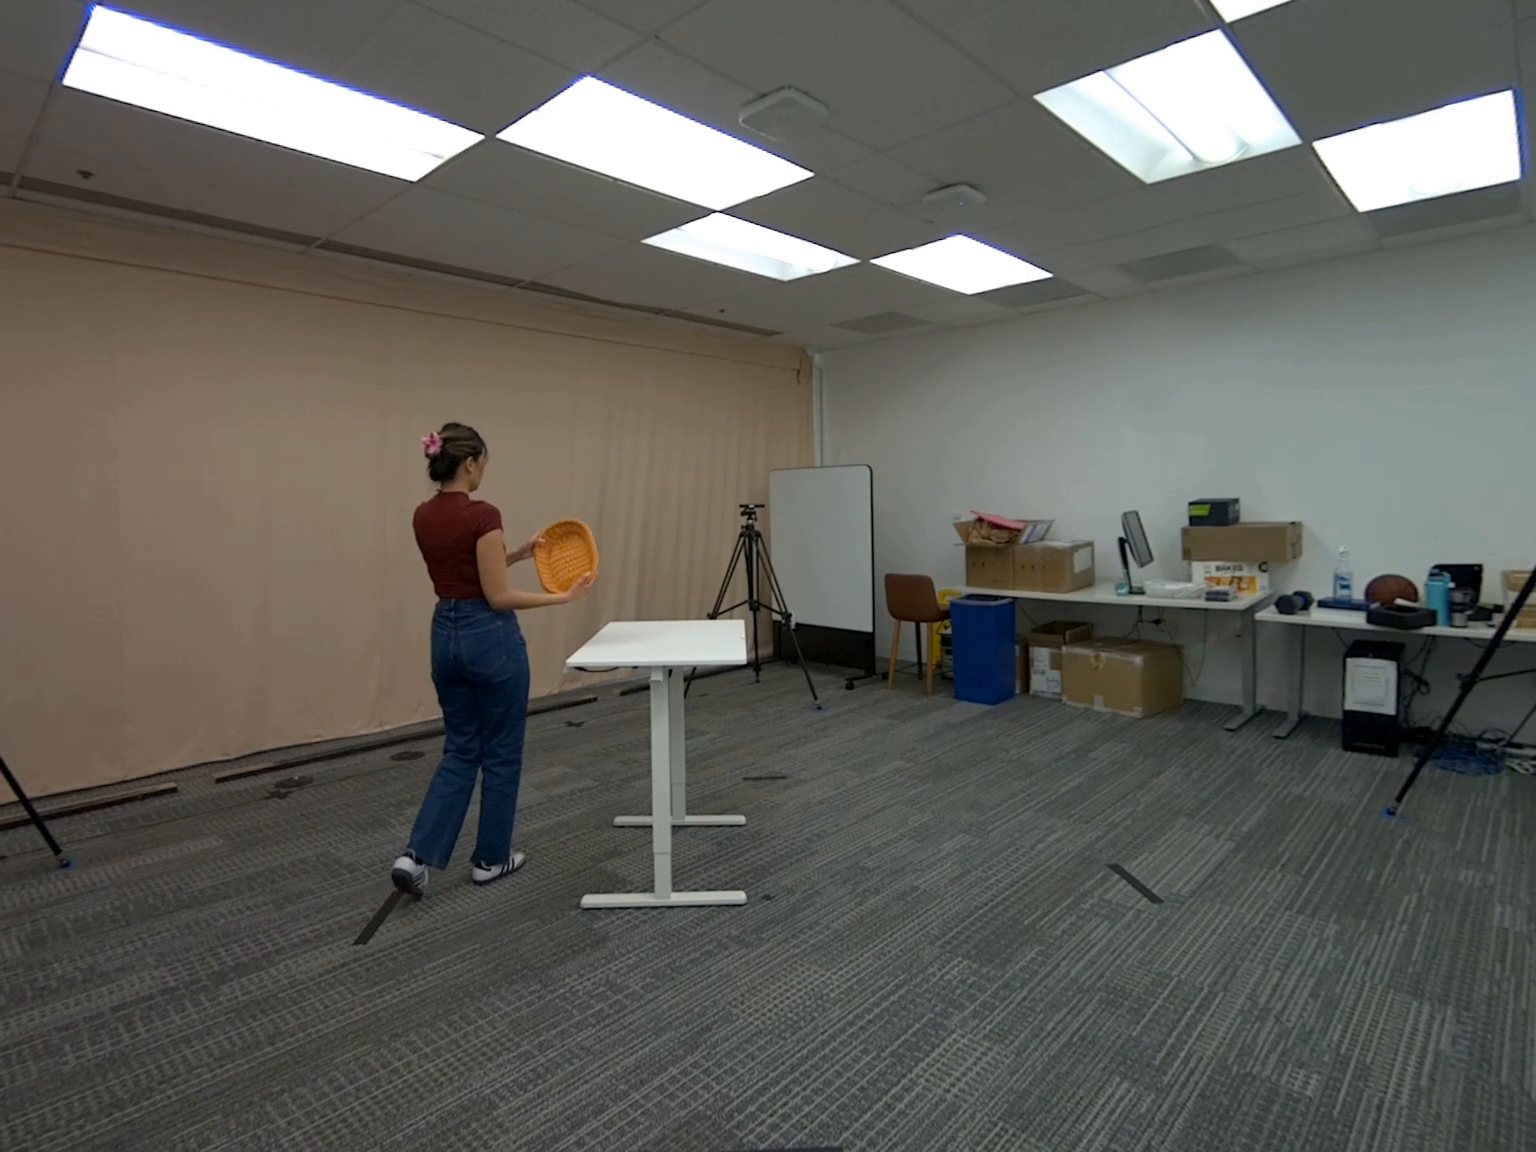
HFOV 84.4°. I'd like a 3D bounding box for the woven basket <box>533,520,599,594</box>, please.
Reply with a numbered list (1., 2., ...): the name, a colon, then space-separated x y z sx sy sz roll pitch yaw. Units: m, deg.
1. woven basket: -0.778 -0.056 3.253 0.254 0.360 0.071 -25 -33 6
